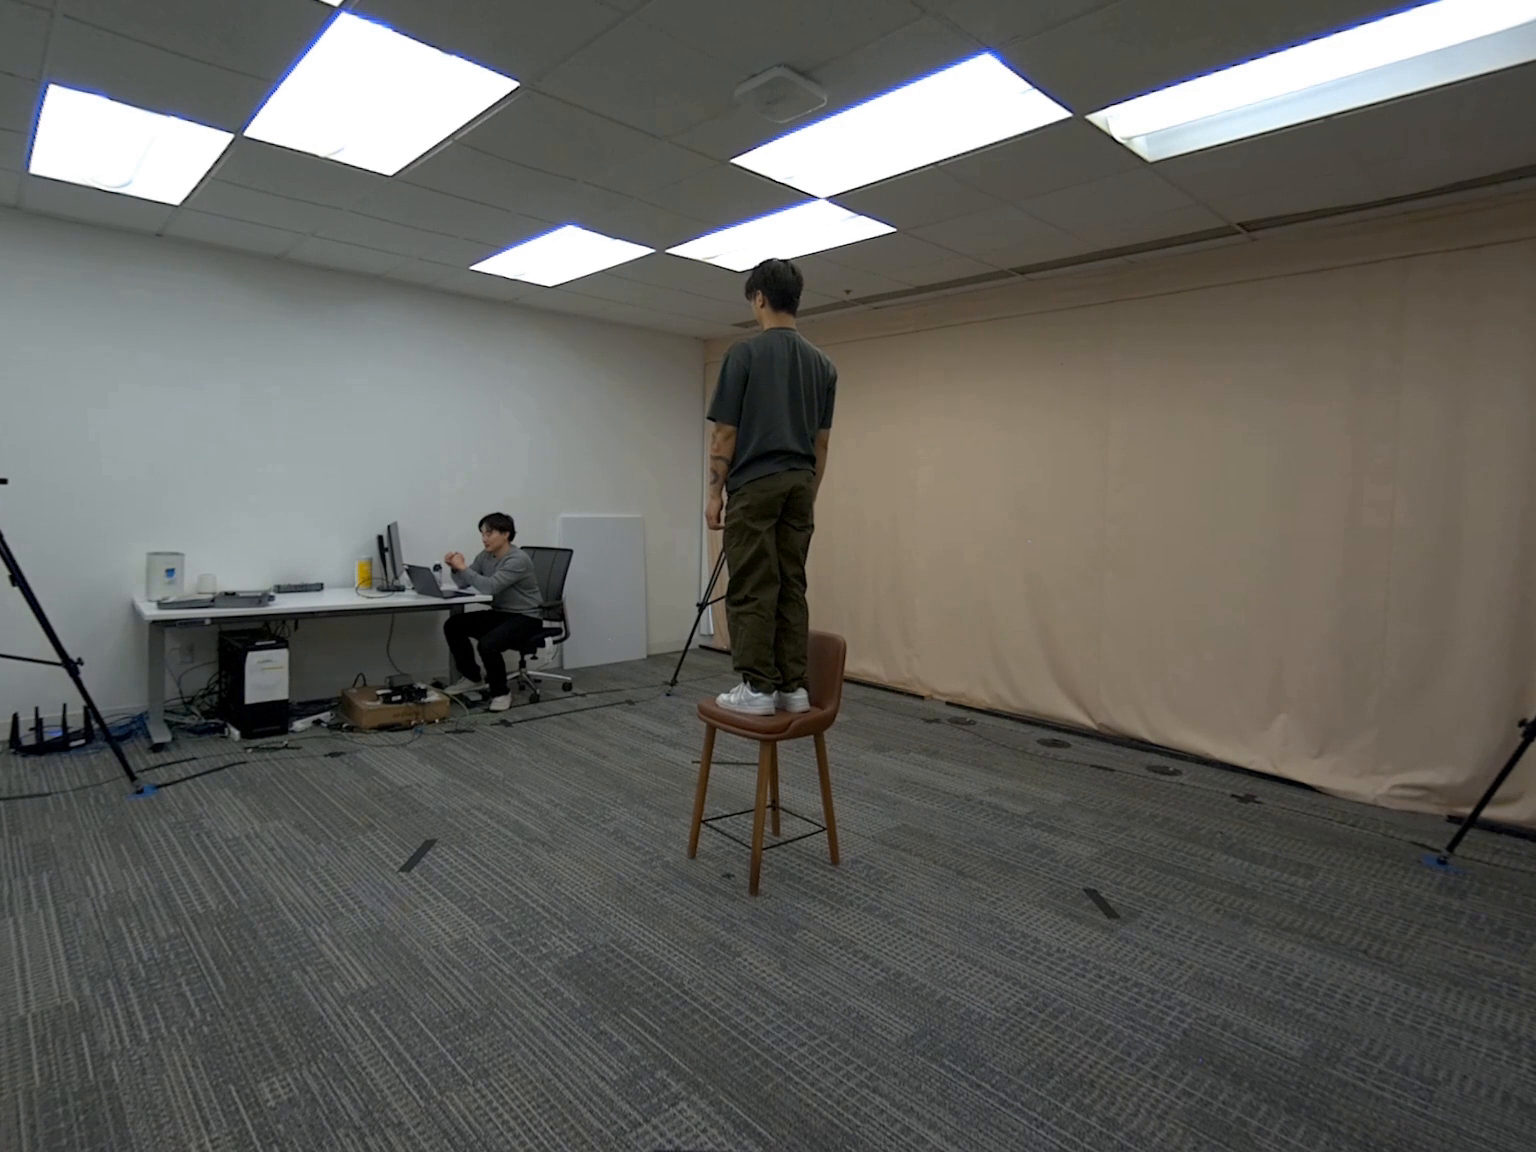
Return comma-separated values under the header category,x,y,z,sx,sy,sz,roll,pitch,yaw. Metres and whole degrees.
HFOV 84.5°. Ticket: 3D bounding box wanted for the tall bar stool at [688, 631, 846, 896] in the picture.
category,x,y,z,sx,sy,sz,roll,pitch,yaw
tall bar stool,-0.004,0.663,3.221,0.456,0.888,0.468,1,3,-39
